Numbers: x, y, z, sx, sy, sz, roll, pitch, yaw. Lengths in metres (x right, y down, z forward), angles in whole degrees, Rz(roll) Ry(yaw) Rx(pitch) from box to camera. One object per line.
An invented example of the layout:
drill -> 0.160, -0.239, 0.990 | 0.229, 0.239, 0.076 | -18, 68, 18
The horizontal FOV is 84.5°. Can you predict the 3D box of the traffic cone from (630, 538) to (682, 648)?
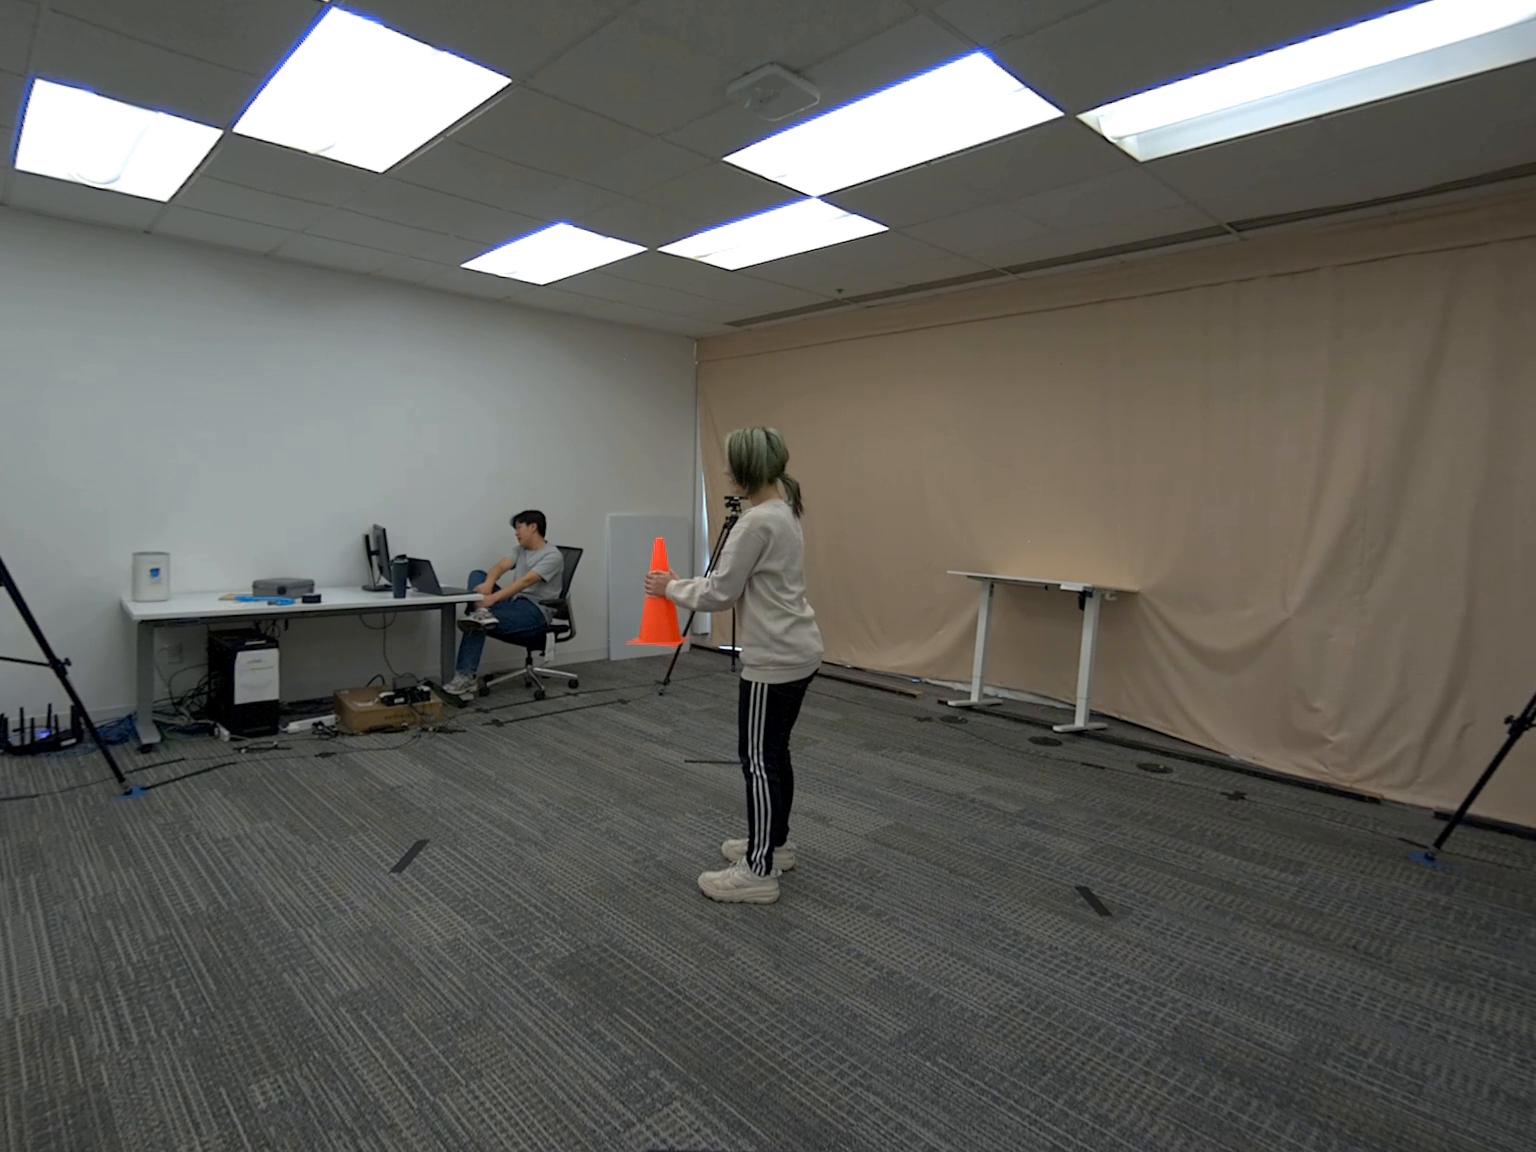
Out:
traffic cone -> -0.400, 0.061, 3.122 | 0.206, 0.382, 0.203 | 1, 4, 16
